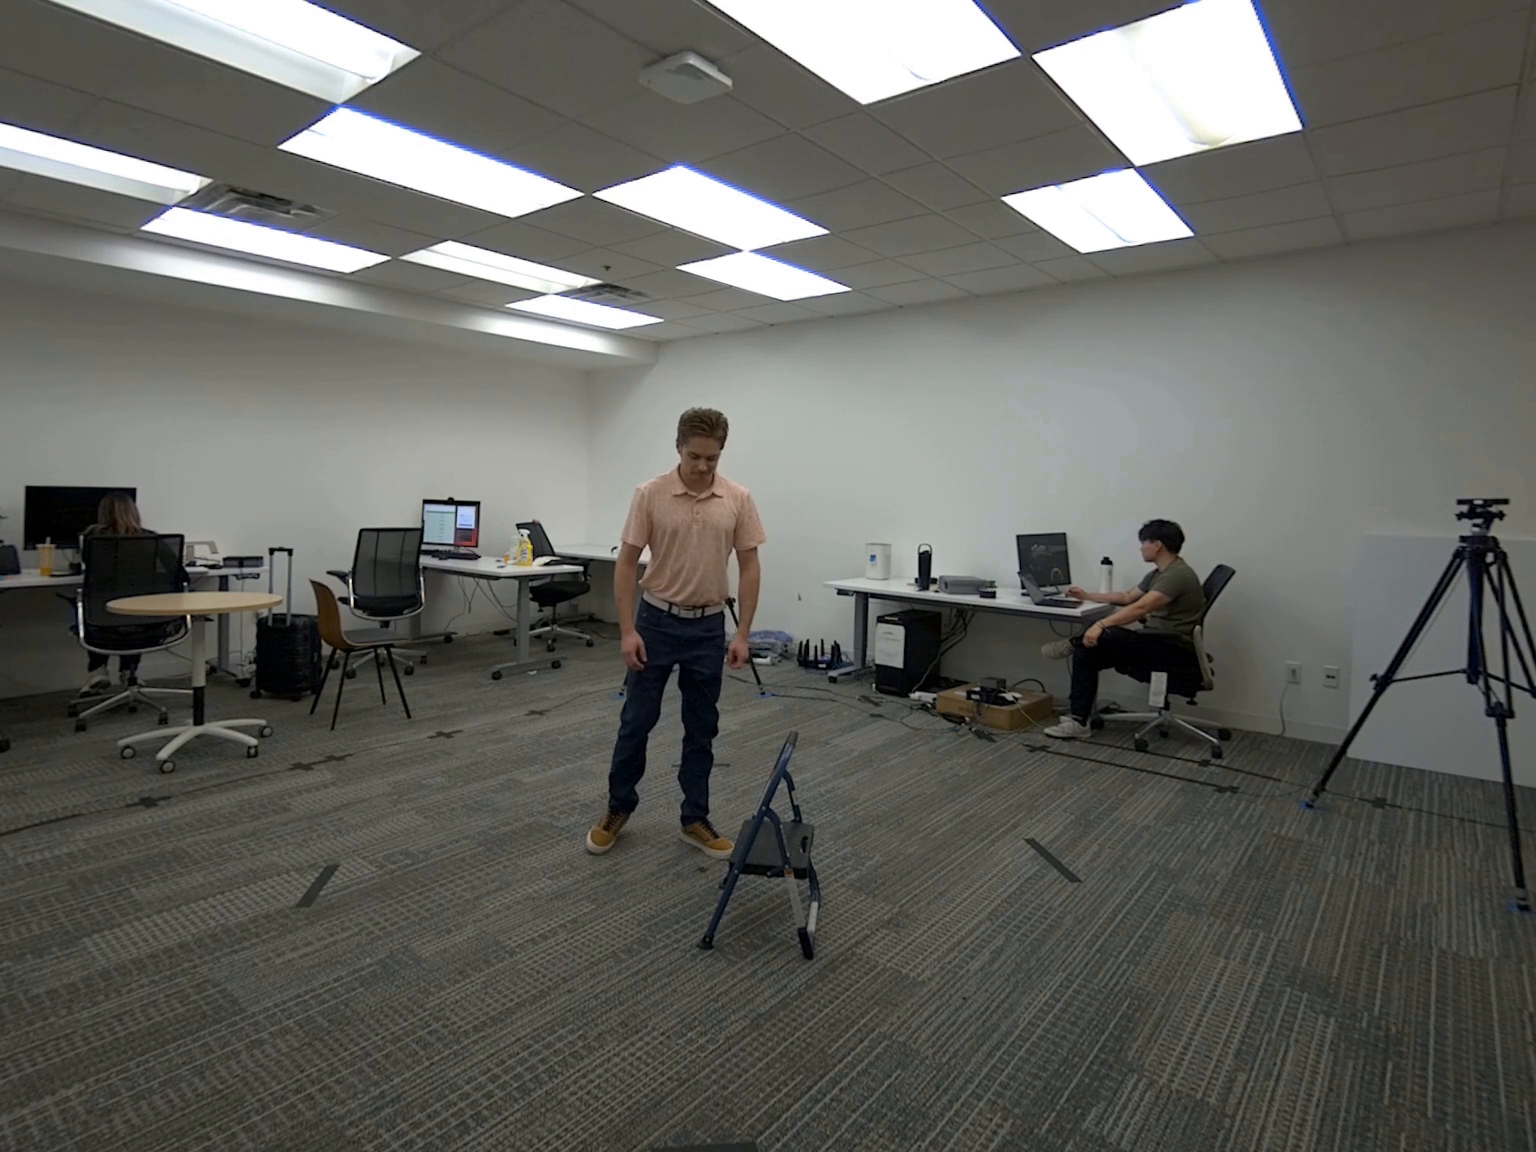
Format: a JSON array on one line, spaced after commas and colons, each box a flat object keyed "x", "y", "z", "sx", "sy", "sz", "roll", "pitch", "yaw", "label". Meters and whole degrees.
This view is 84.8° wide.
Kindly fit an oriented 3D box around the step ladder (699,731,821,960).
[{"x": -0.012, "y": 0.807, "z": 2.731, "sx": 0.352, "sy": 0.604, "sz": 0.428, "roll": 2, "pitch": 3, "yaw": 7, "label": "step ladder"}]
